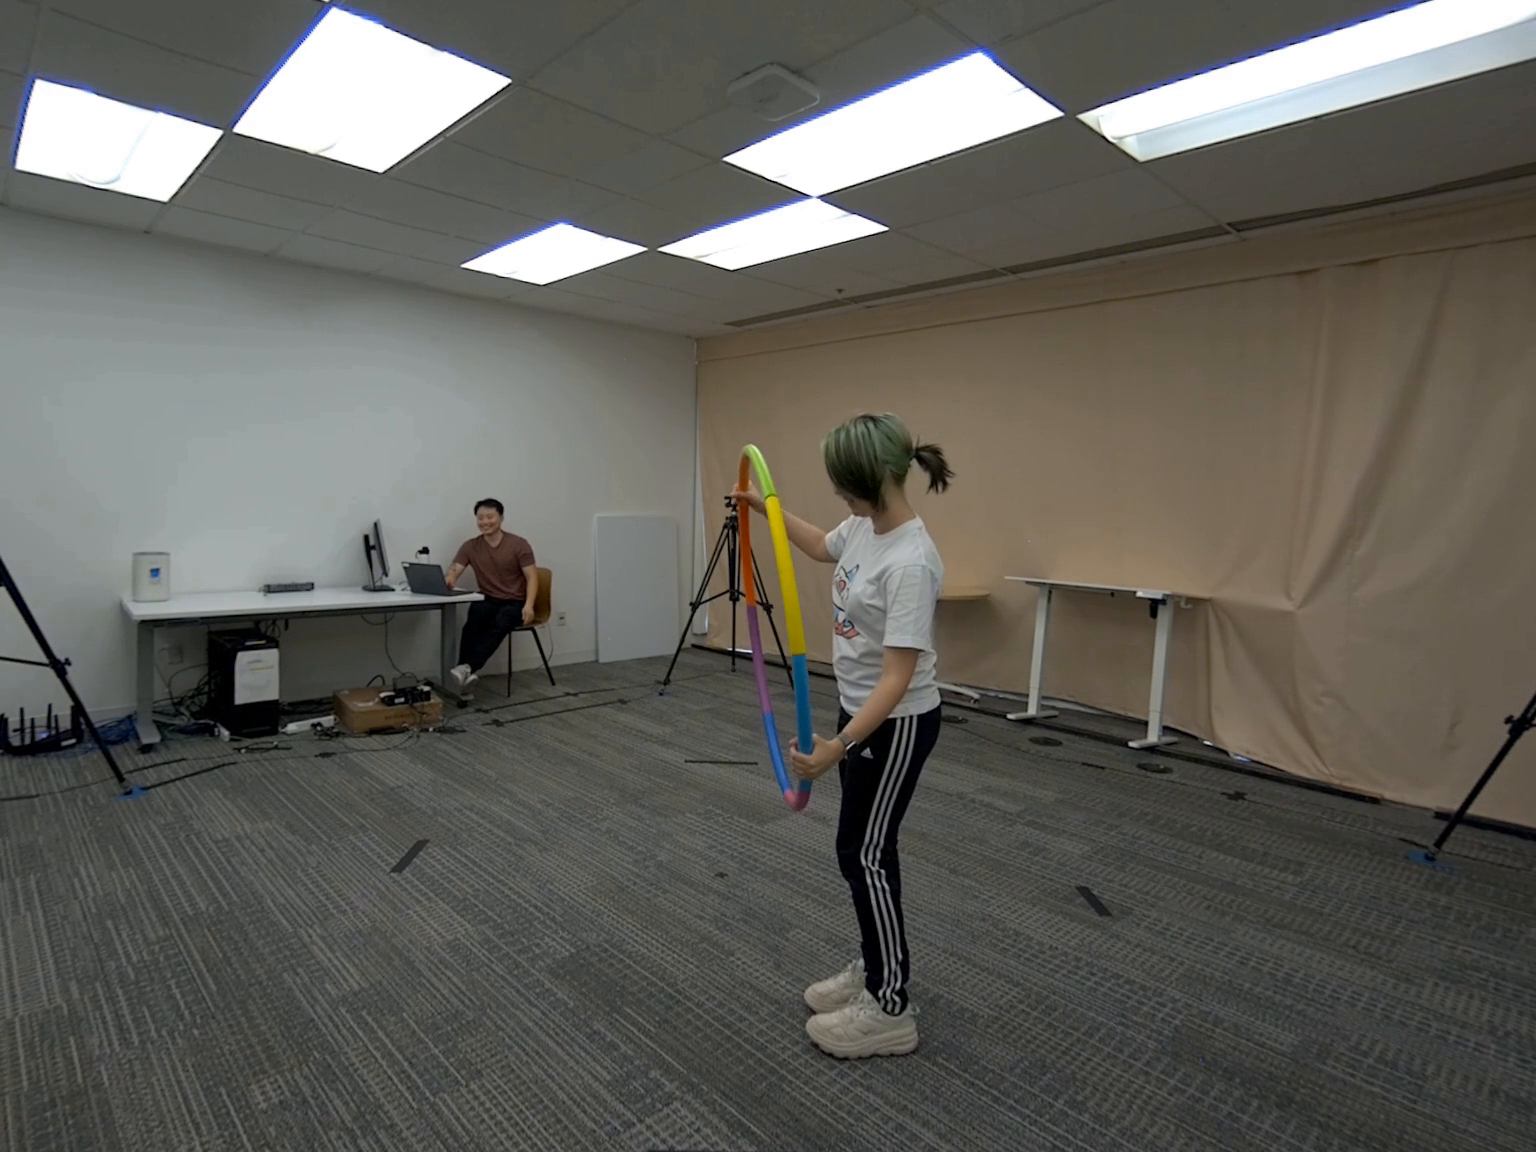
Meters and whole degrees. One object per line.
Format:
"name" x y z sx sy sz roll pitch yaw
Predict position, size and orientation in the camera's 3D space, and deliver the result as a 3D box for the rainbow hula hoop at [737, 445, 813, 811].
"rainbow hula hoop" 0.003 0.136 2.291 0.035 0.975 0.985 -6 5 -6
